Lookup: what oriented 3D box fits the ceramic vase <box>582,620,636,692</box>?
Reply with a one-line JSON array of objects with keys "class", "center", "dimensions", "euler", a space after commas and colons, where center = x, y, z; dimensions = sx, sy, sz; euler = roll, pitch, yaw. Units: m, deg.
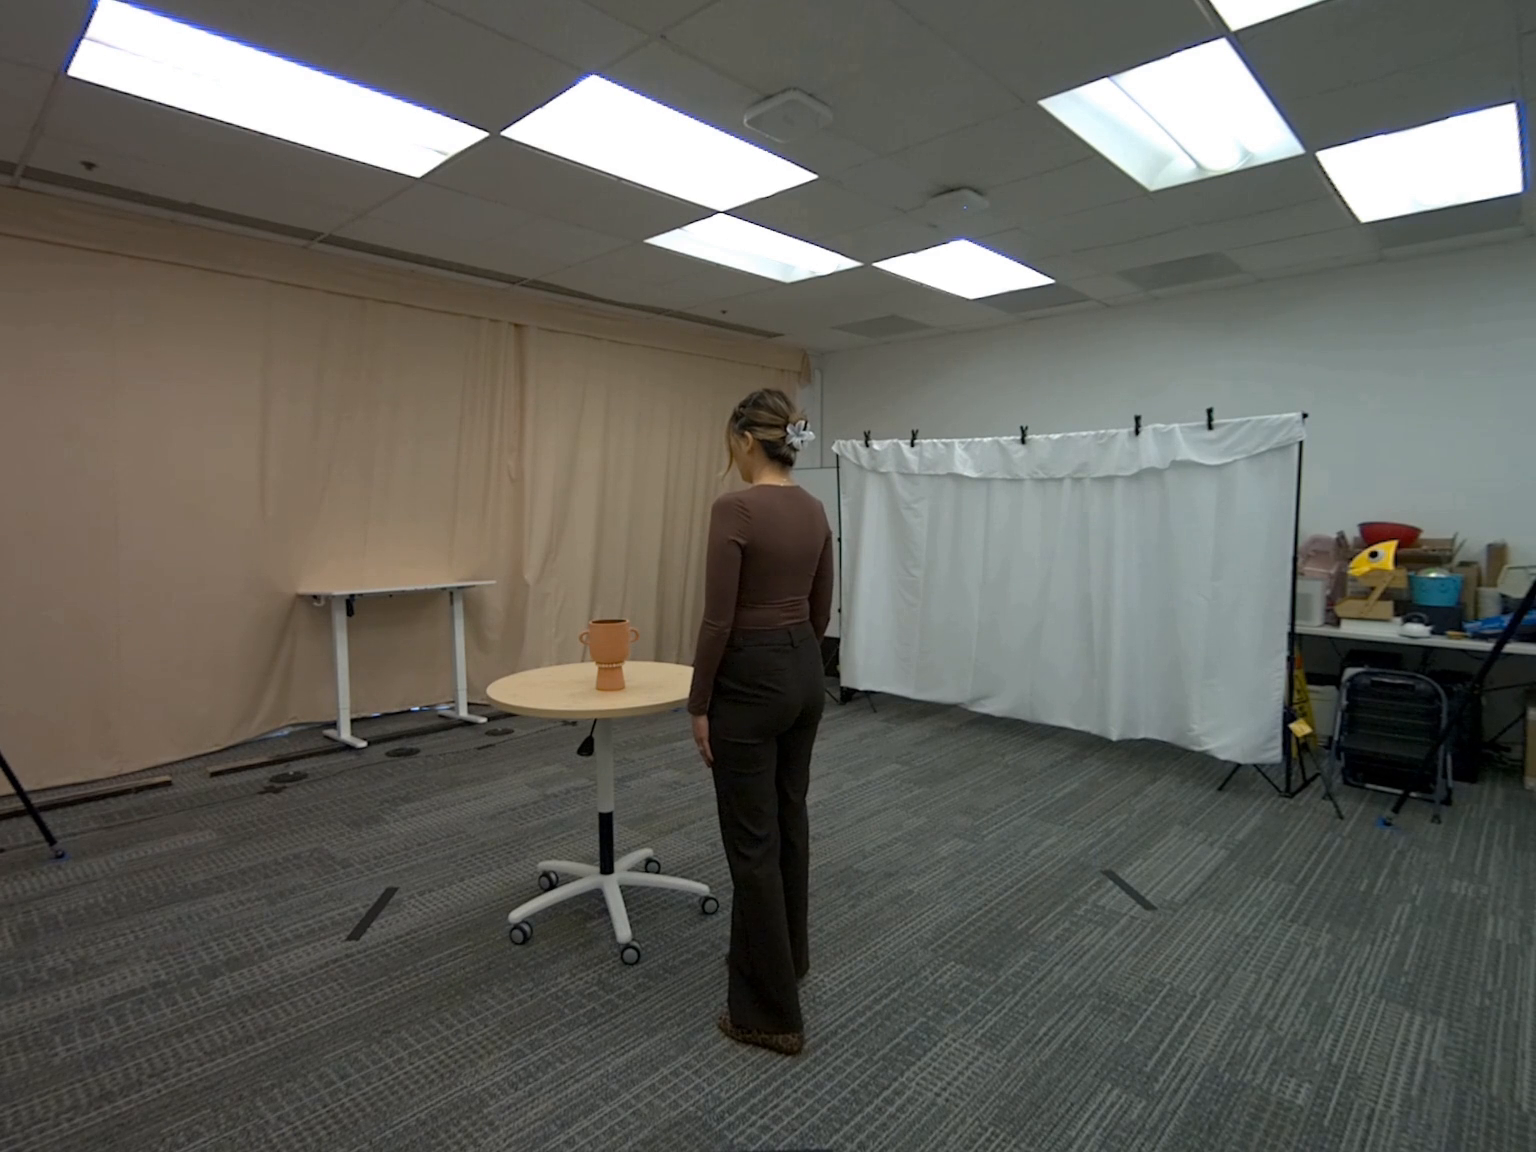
[{"class": "ceramic vase", "center": [-0.521, 0.261, 2.760], "dimensions": [0.162, 0.219, 0.132], "euler": [0, 4, 21]}]
